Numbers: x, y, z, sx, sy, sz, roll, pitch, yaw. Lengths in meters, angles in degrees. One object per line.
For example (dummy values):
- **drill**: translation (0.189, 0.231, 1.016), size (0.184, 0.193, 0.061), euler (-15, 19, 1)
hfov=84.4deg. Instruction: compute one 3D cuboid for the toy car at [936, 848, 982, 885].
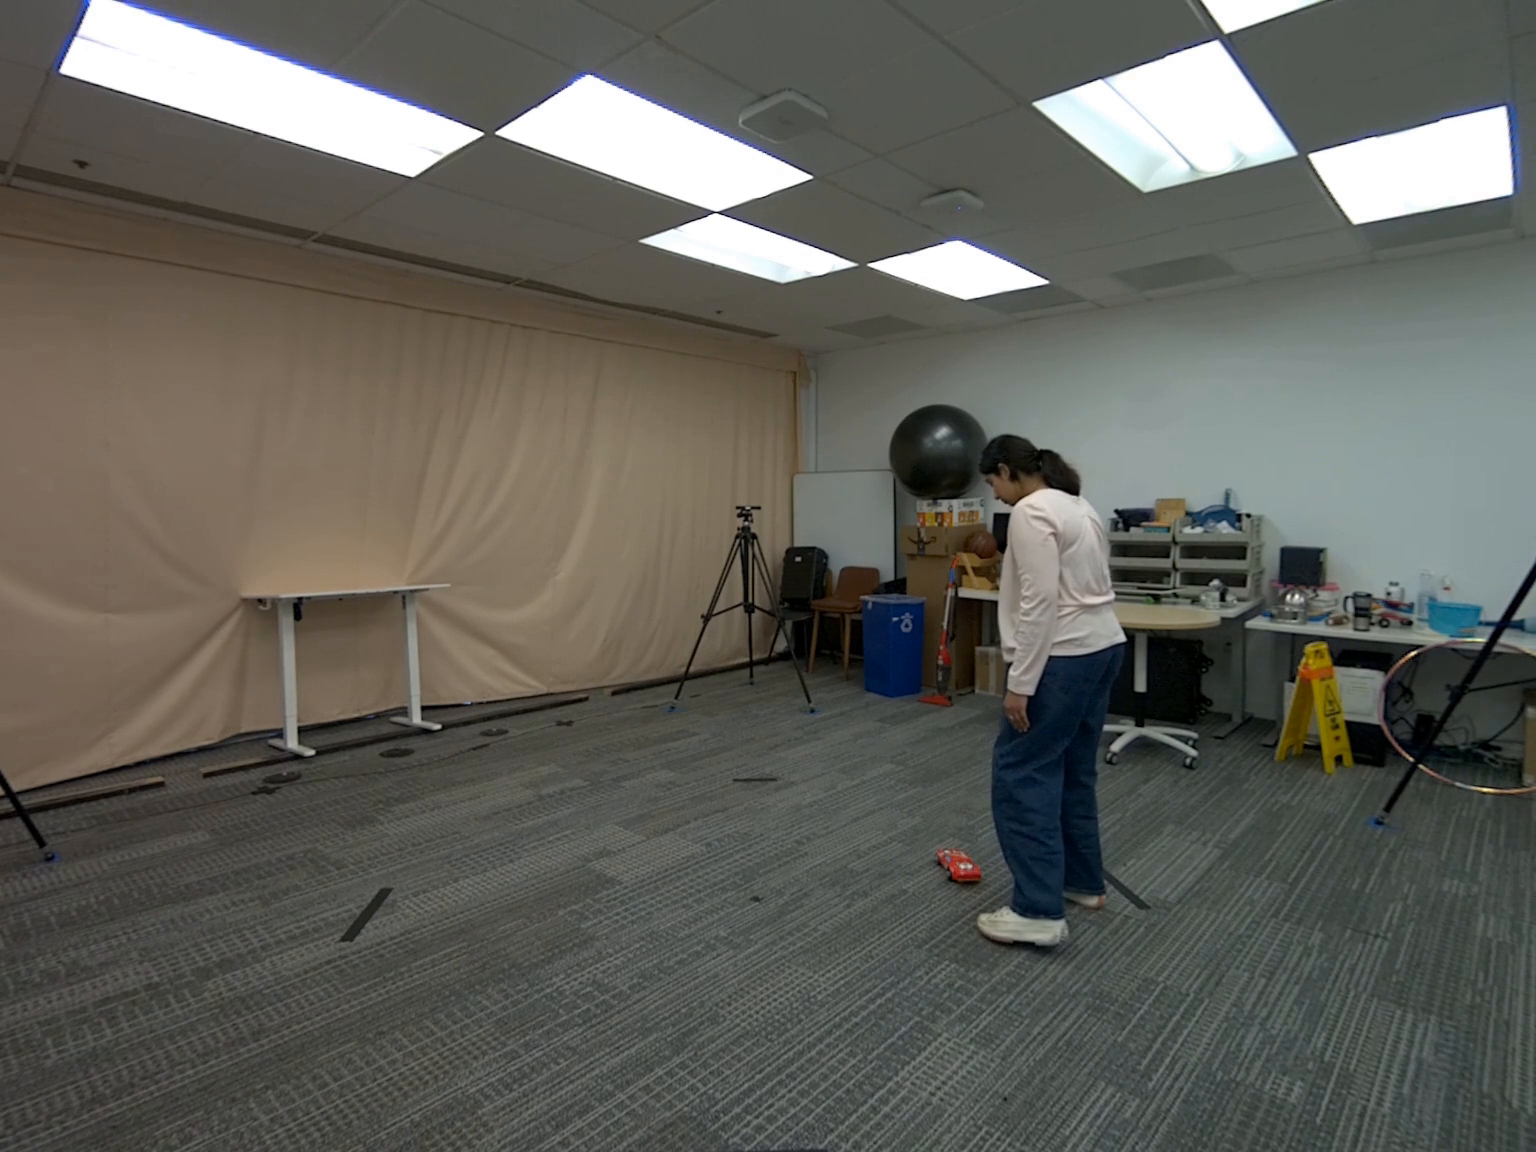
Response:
- **toy car**: translation (0.728, 1.096, 3.179), size (0.130, 0.083, 0.254), euler (-1, -6, -5)
